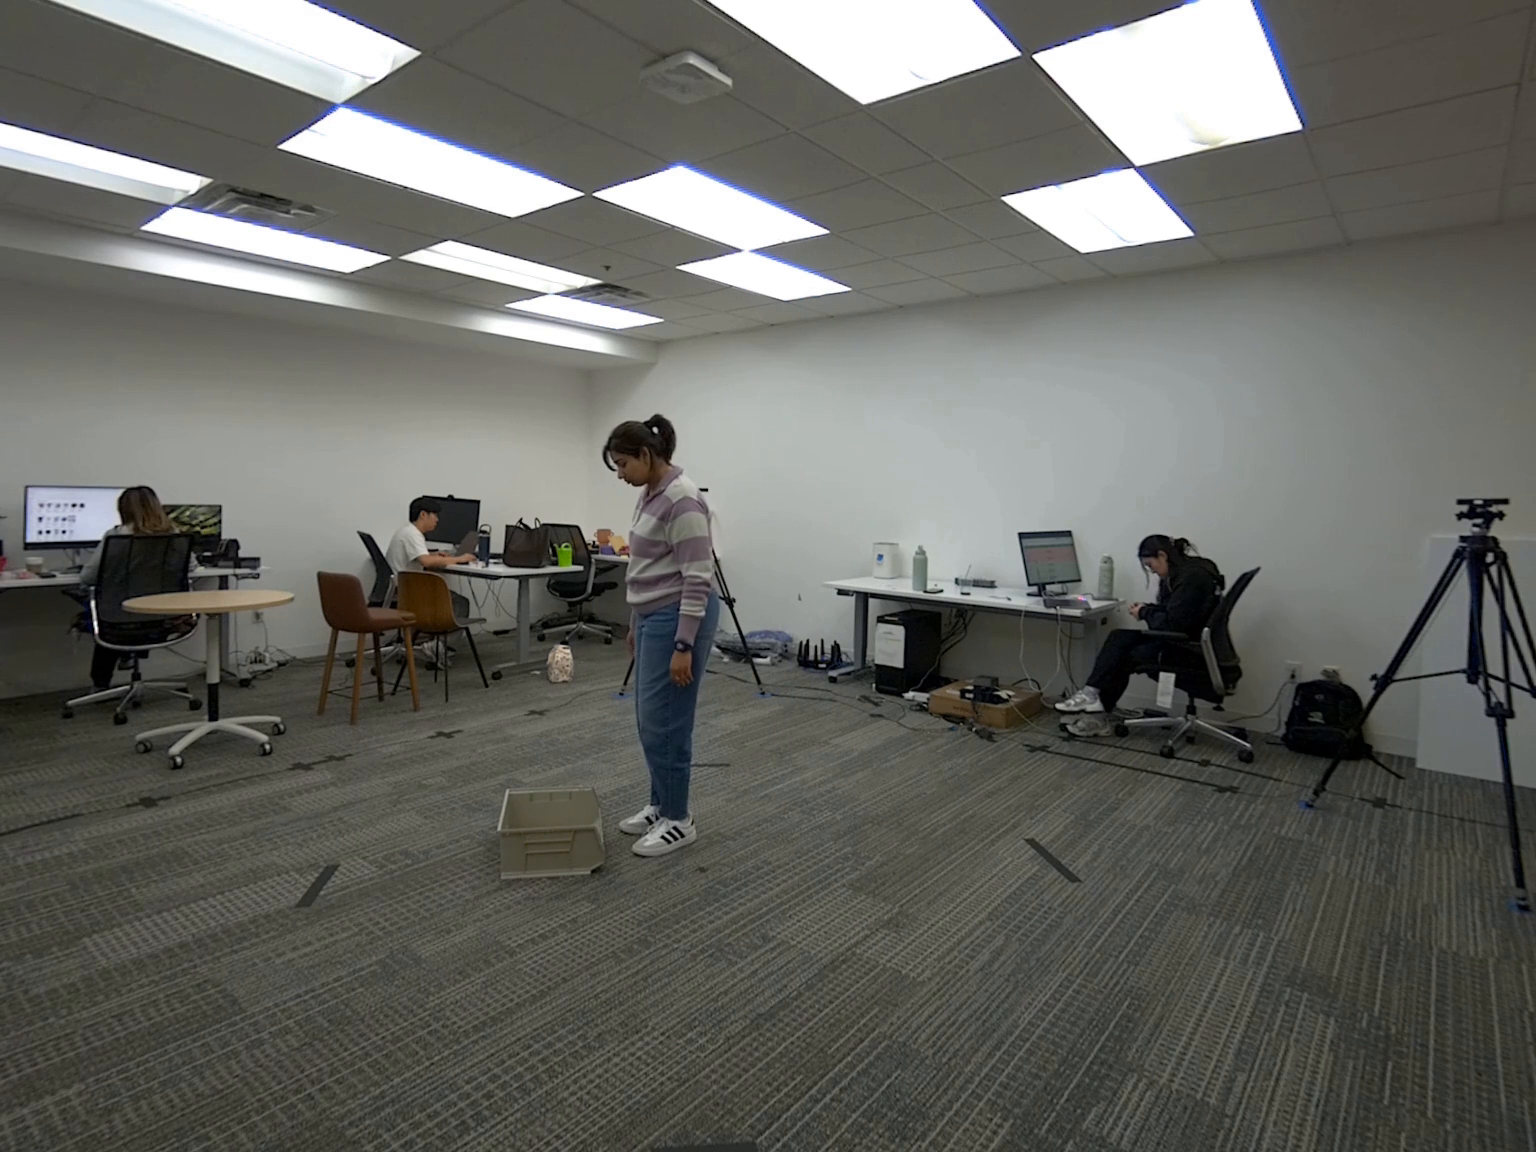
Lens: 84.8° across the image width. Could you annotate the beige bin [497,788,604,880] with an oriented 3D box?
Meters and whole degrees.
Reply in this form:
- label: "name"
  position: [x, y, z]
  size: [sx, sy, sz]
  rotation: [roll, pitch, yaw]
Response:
- label: "beige bin"
  position: [-0.828, 0.961, 3.220]
  size: [0.373, 0.188, 0.429]
  rotation: [0, 5, -12]
